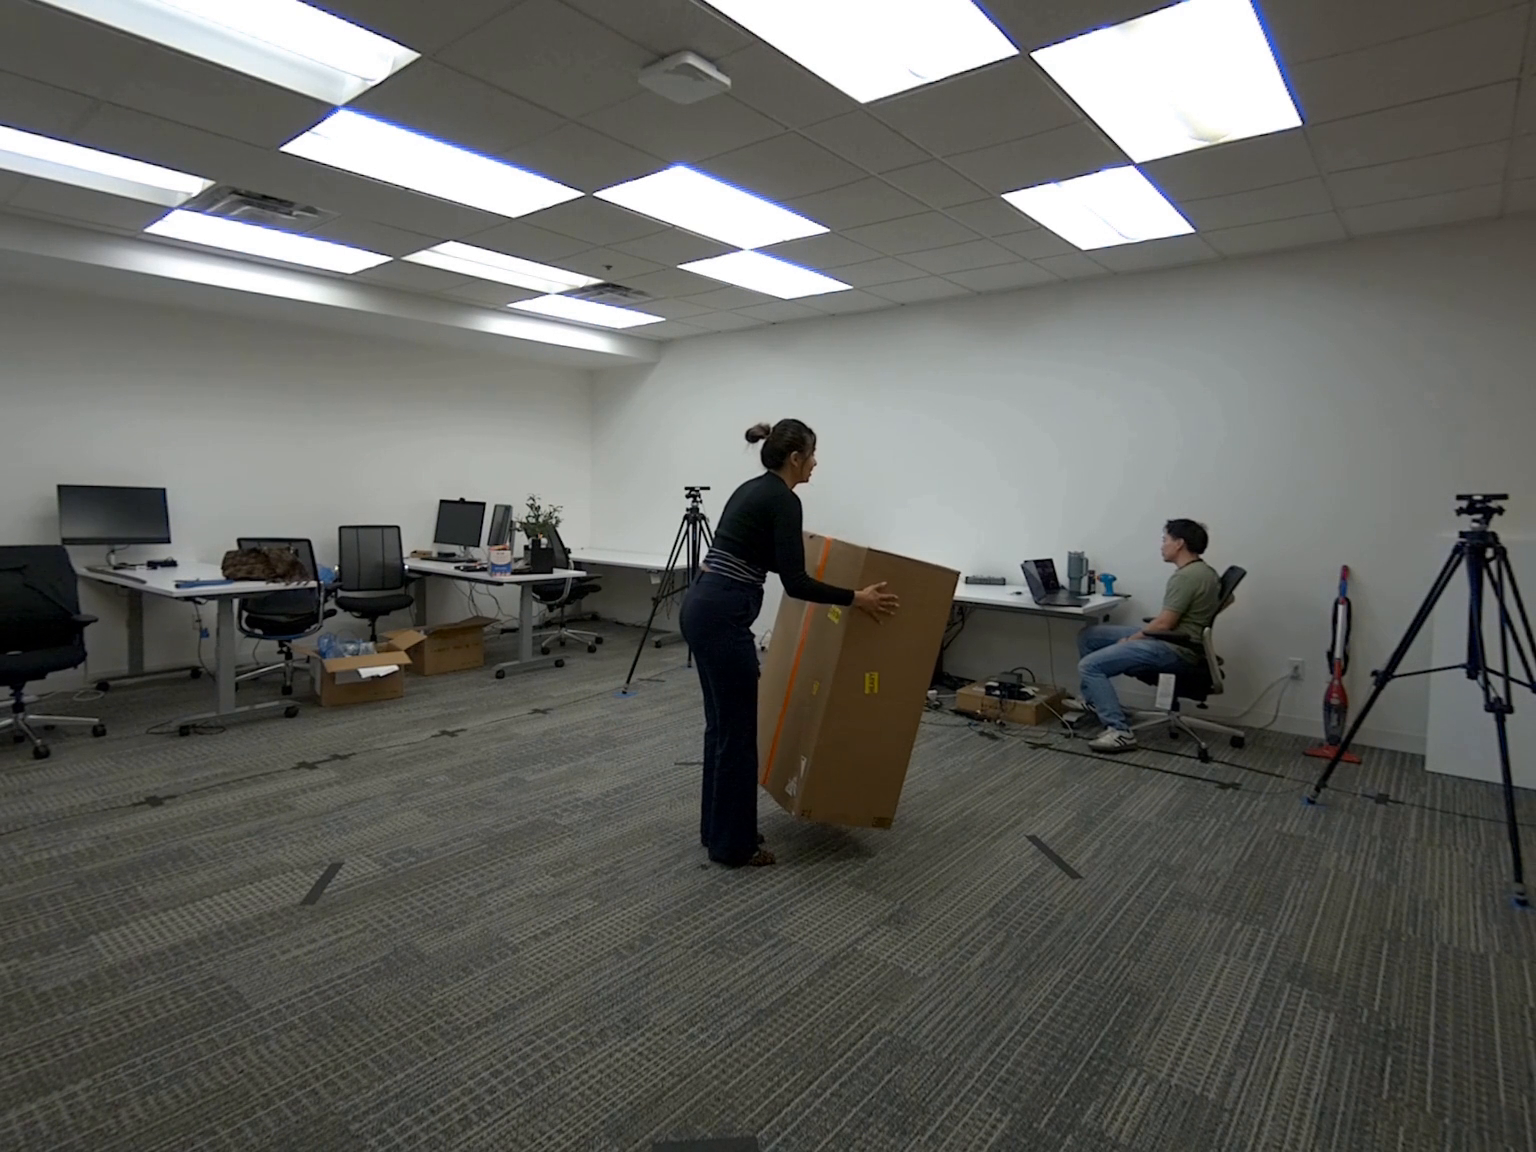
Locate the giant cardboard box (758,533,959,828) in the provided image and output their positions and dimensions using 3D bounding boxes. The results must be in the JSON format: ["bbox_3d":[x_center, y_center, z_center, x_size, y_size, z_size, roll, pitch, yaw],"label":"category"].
[{"bbox_3d":[0.290,0.386,3.399,0.415,1.024,0.594,13,3,-24],"label":"giant cardboard box"}]
